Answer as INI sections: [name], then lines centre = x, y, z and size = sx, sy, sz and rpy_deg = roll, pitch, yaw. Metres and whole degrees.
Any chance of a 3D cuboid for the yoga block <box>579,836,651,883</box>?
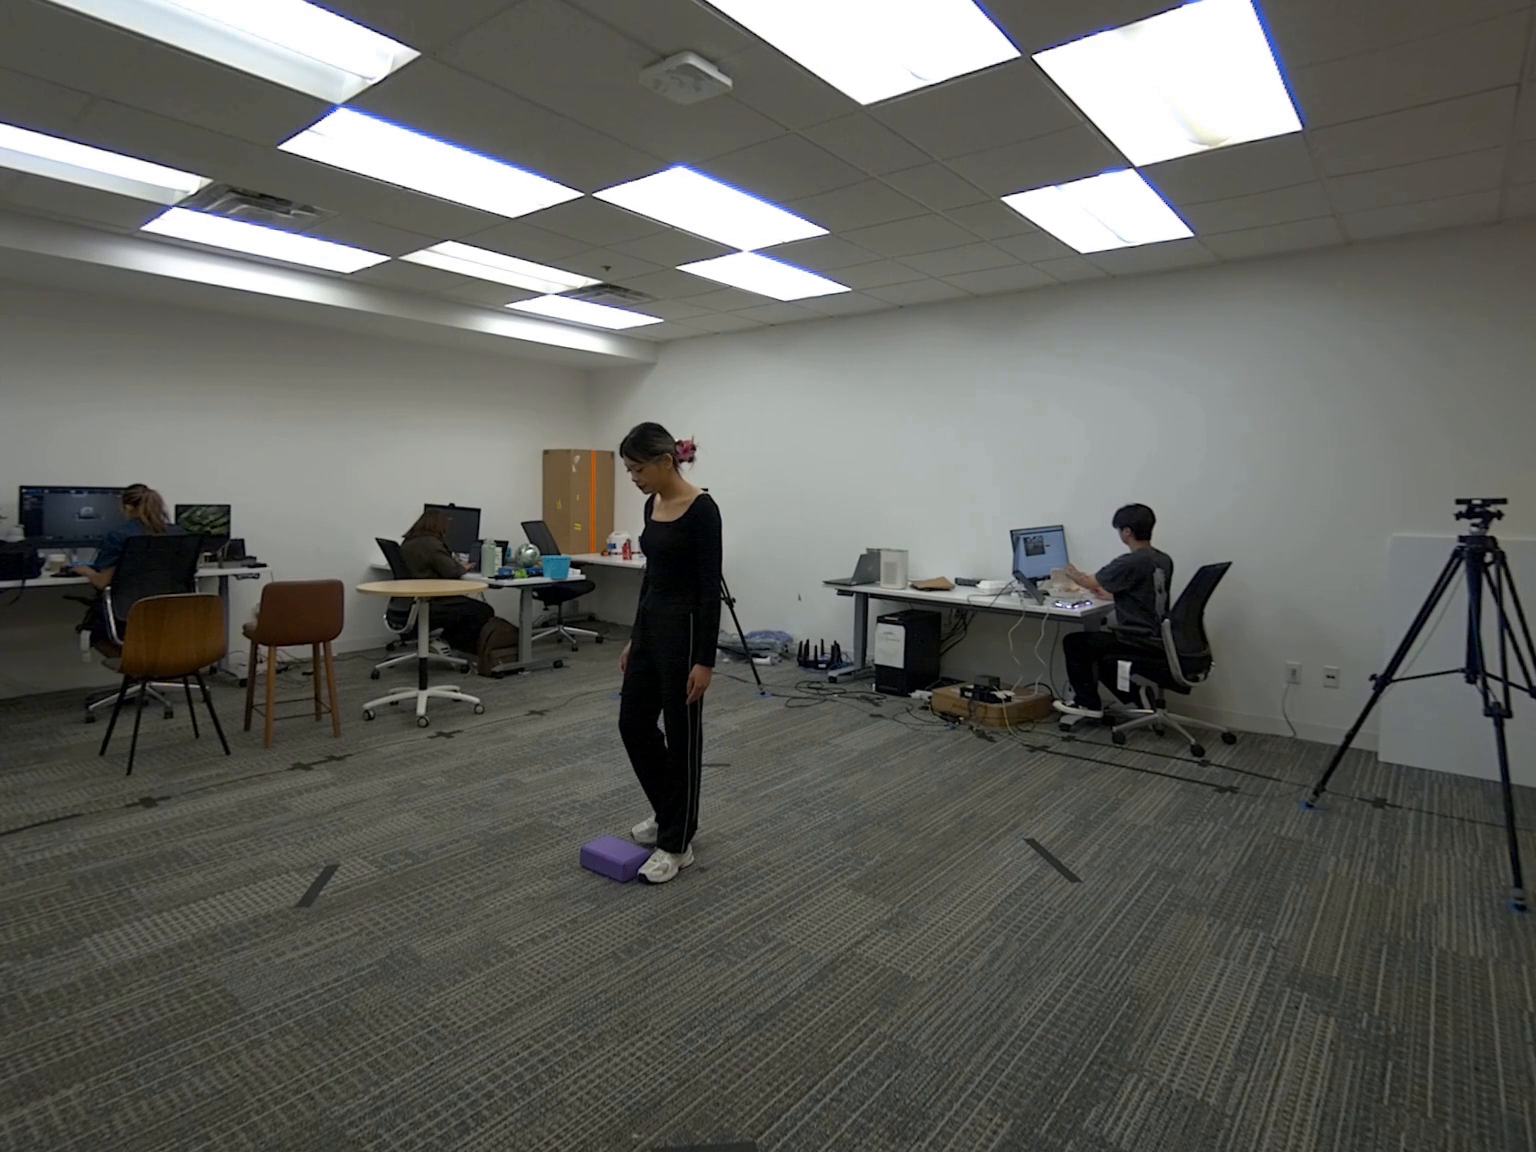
[yoga block]
centre = -0.569, 1.023, 3.106
size = 0.237, 0.076, 0.145
rpy_deg = 3, 6, 36
